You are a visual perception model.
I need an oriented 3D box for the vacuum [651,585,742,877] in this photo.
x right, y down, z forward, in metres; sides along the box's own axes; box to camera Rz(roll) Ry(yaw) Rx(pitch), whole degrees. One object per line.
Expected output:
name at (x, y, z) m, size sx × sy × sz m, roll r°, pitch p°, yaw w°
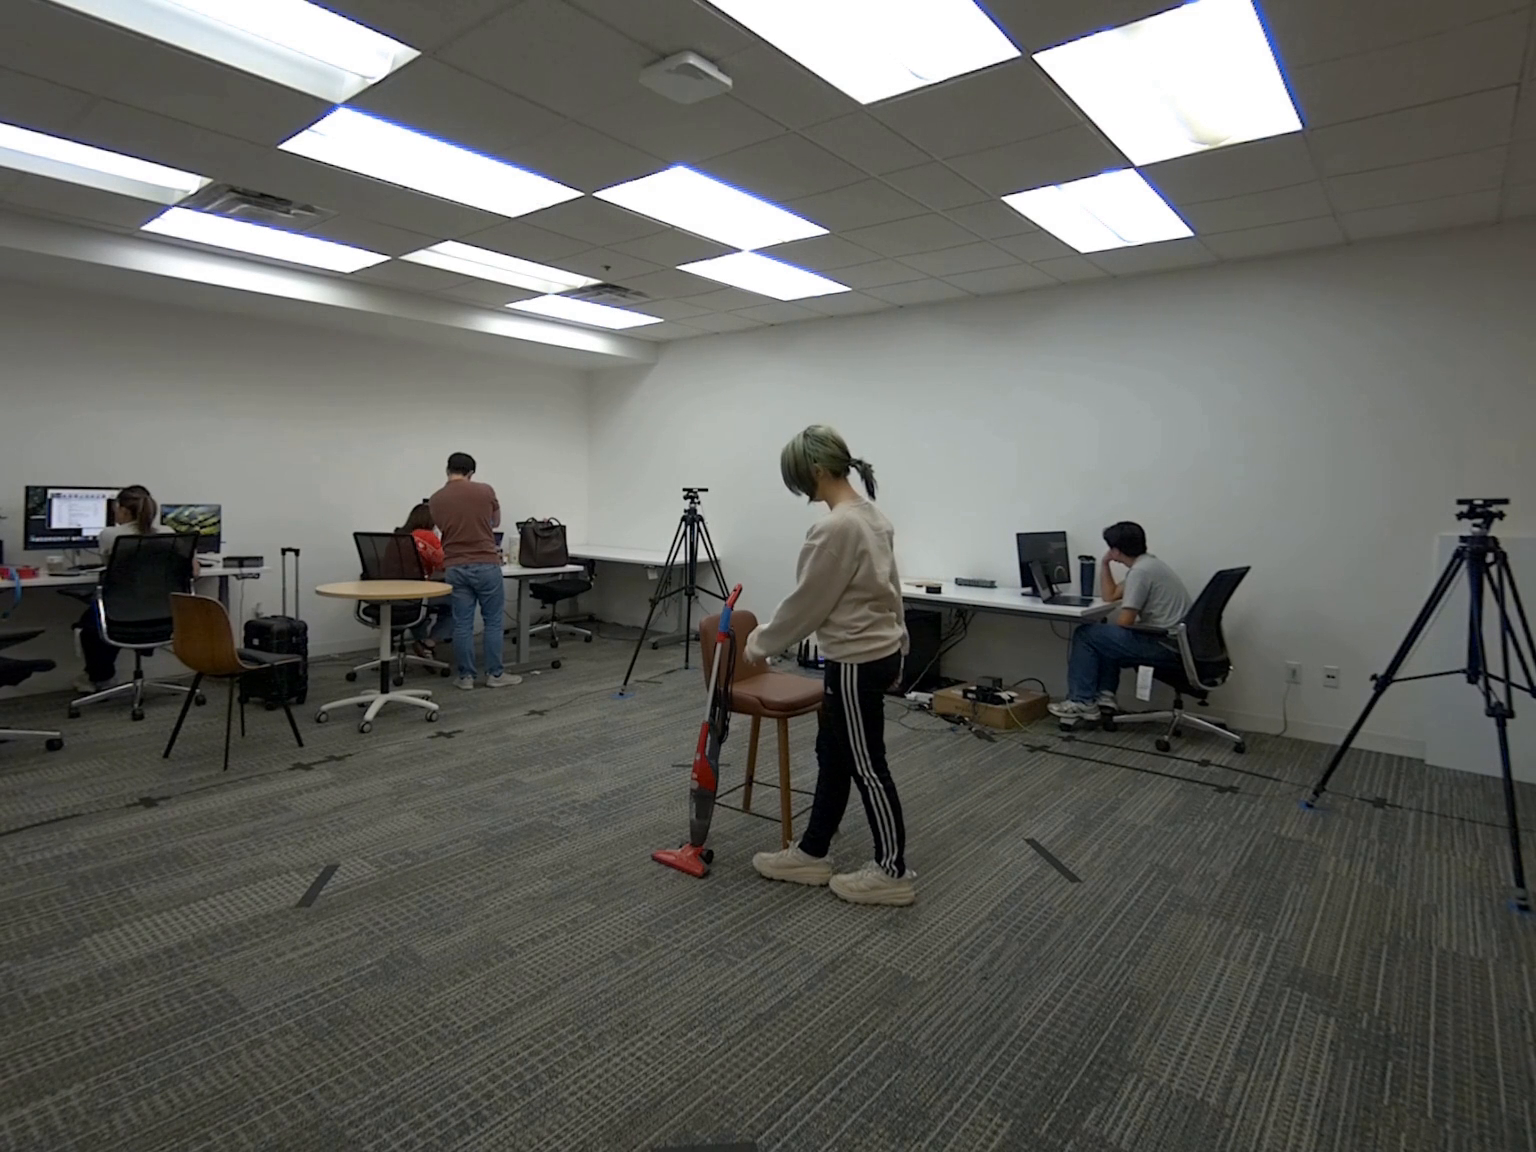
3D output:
vacuum at (-0.217, 0.547, 3.249) m, size 0.261 × 1.057 × 0.138 m, roll 1°, pitch -13°, yaw 45°
